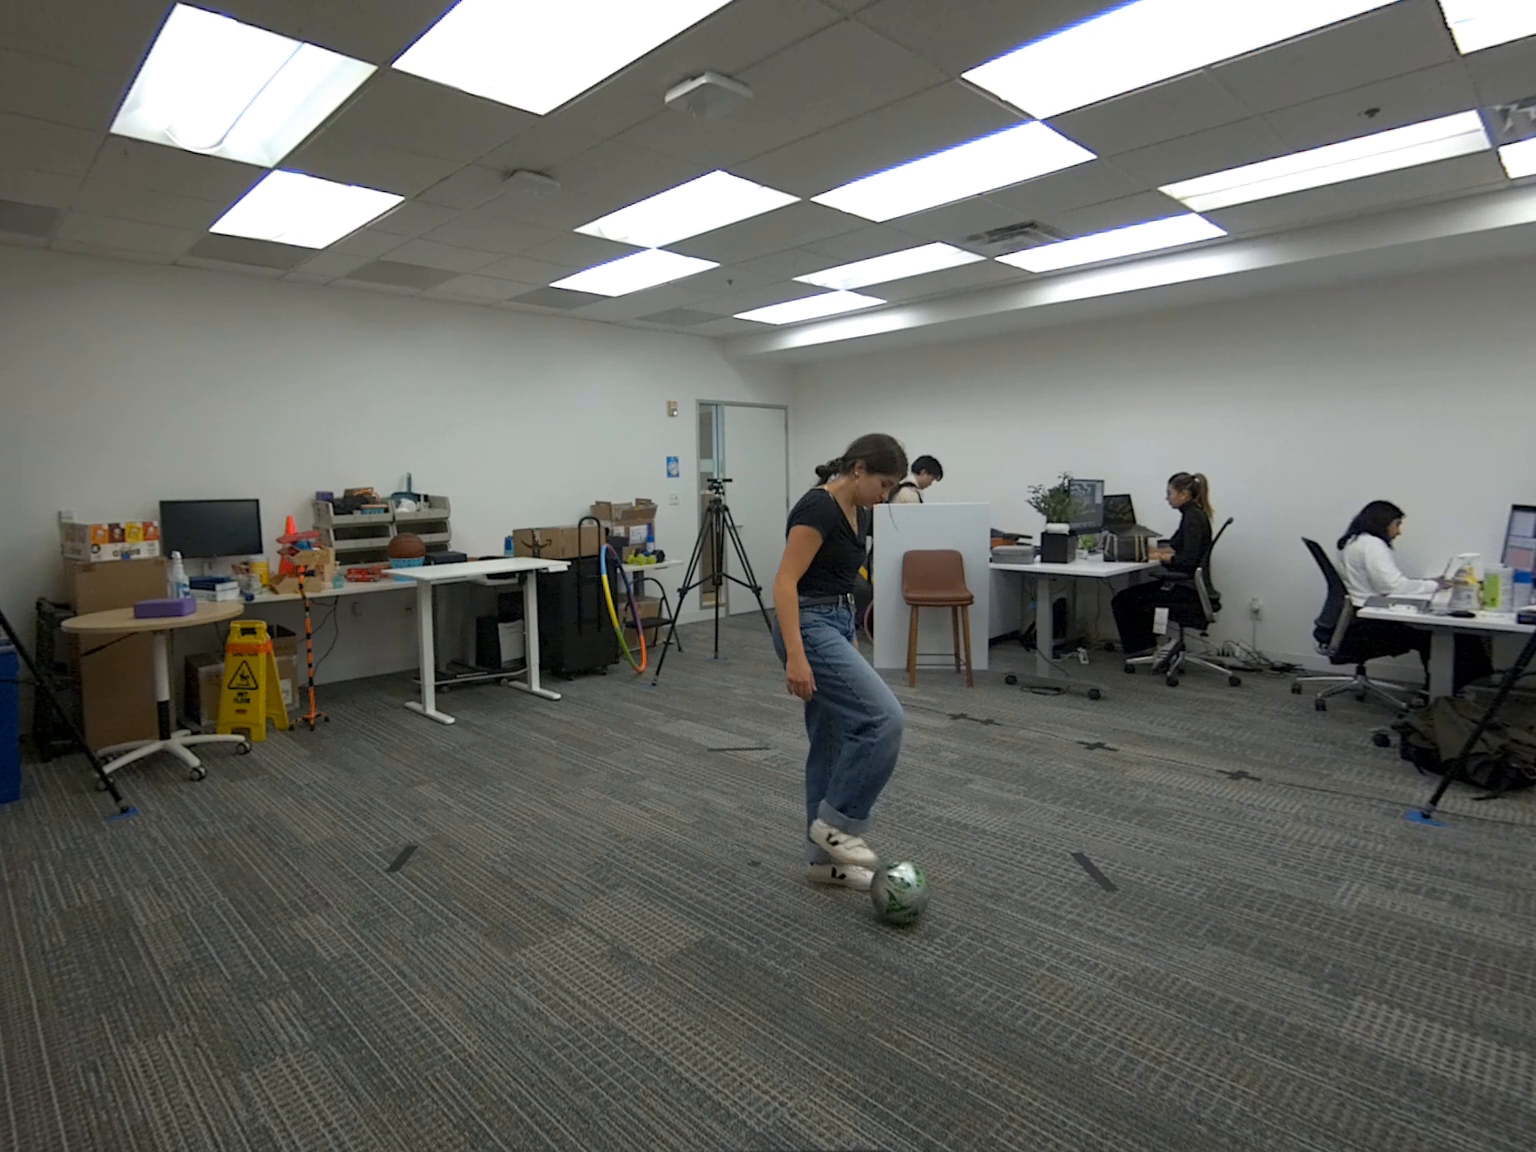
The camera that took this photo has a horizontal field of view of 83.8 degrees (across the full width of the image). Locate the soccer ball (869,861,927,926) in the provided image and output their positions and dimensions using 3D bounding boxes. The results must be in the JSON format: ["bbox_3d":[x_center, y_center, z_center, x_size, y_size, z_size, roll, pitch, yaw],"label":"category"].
[{"bbox_3d":[0.419,0.996,2.693,0.187,0.187,0.188,-1,5,-2],"label":"soccer ball"}]
